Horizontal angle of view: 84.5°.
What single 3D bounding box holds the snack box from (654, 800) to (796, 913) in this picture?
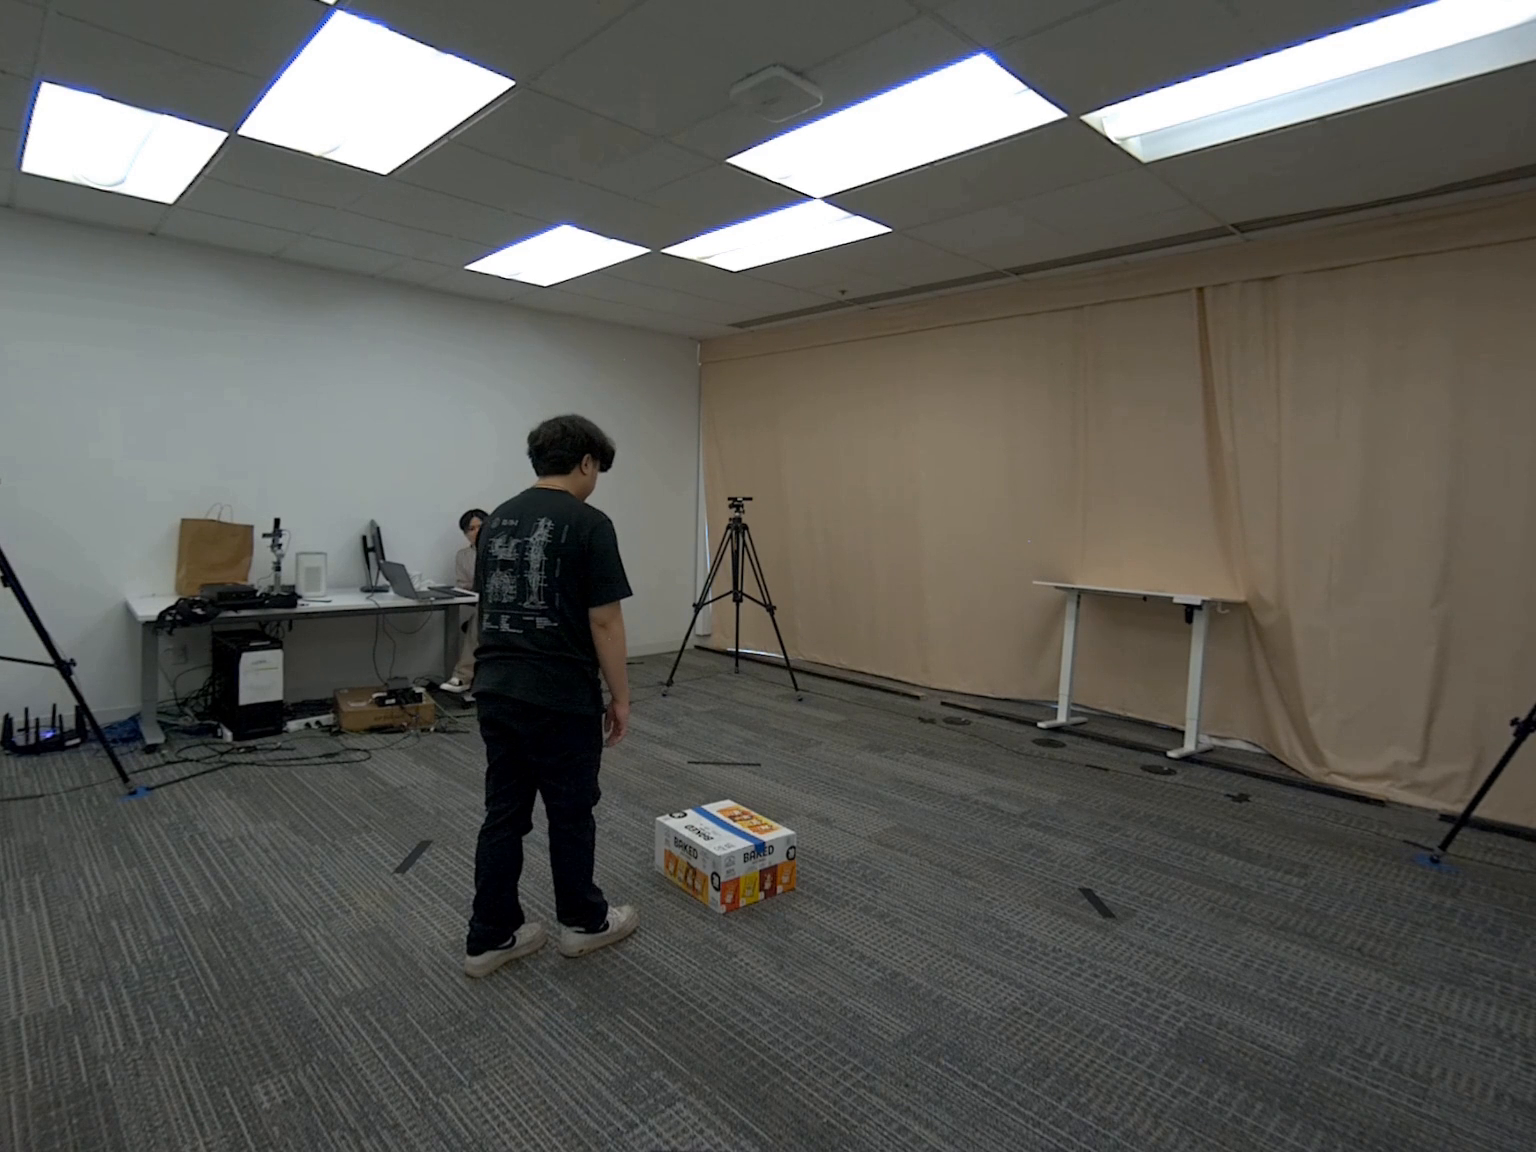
[{"bbox_3d":[-0.166,1.009,3.066,0.333,0.205,0.415,-2,6,-38],"label":"snack box"}]
